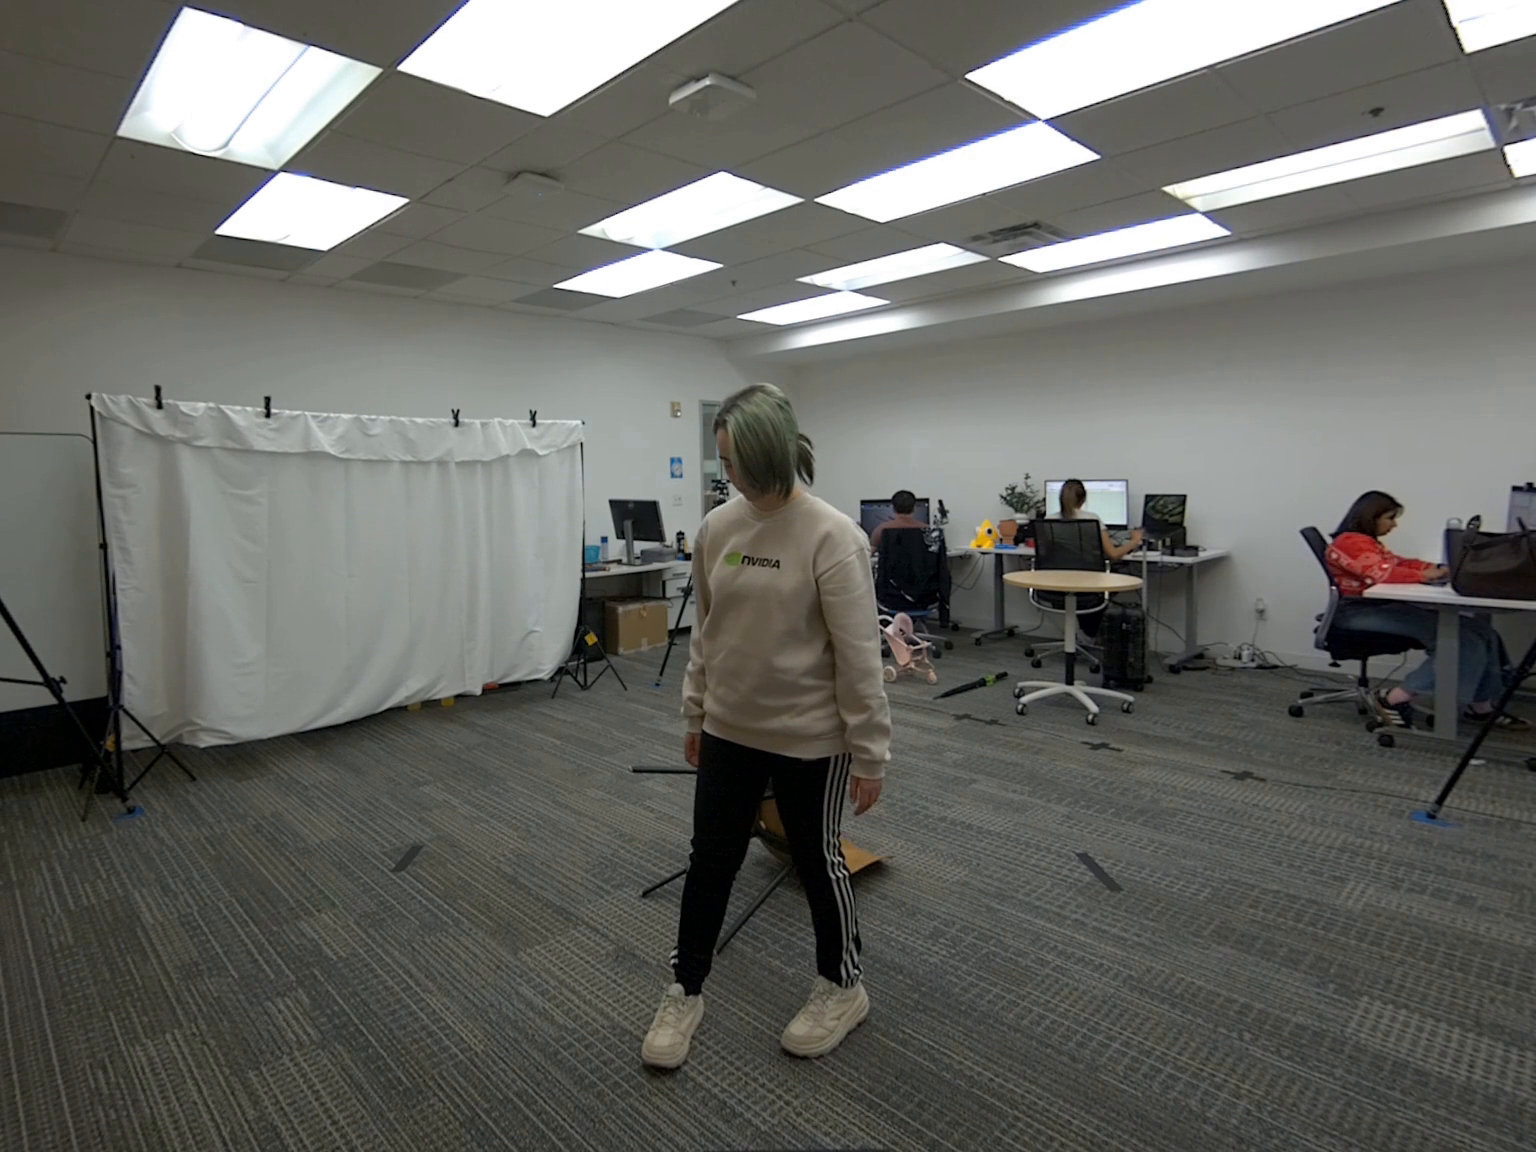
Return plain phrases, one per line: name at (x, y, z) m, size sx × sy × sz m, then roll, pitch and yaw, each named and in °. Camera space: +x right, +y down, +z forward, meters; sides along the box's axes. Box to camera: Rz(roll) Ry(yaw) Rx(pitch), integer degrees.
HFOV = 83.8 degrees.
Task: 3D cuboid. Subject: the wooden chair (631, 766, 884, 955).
wooden chair at (0.030, 0.811, 2.915) m, size 0.855 × 0.521 × 0.493 m, roll -4°, pitch 7°, yaw -37°
